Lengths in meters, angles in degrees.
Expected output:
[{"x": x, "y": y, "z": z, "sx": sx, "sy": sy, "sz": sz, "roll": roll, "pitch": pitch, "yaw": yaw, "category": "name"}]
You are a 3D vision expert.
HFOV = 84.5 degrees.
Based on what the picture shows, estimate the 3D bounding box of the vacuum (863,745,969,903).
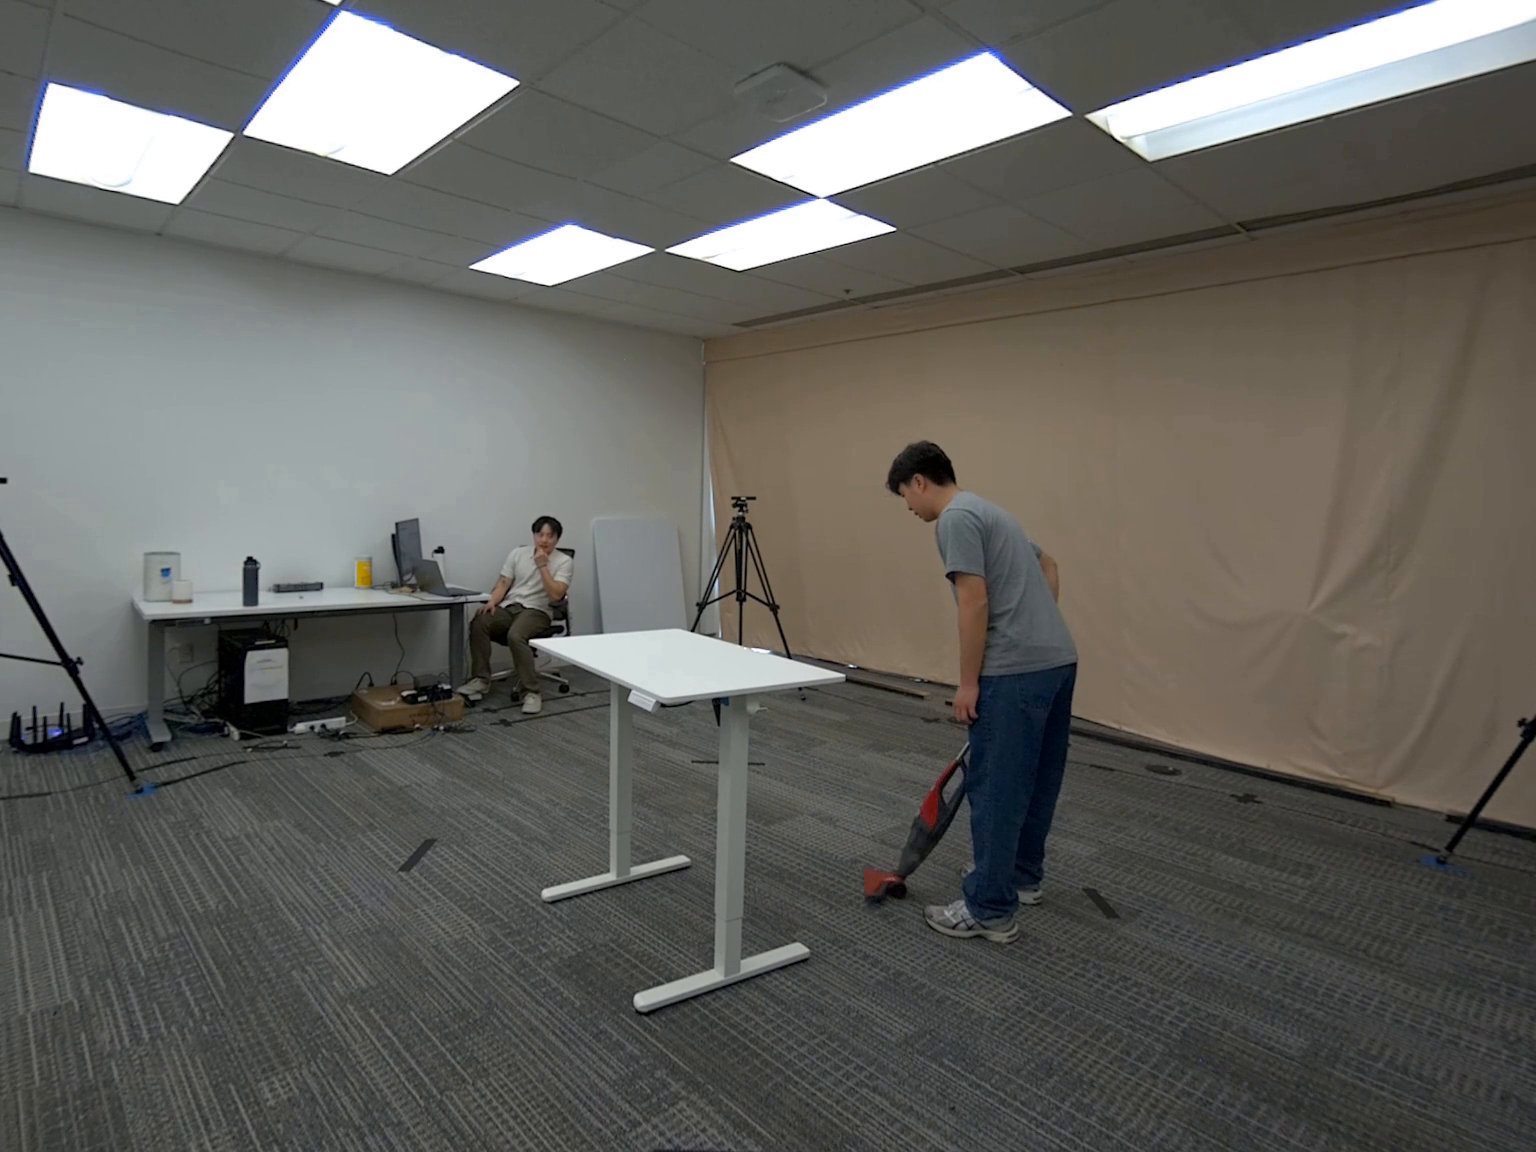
[{"x": 0.697, "y": 0.684, "z": 3.000, "sx": 0.145, "sy": 1.049, "sz": 0.251, "roll": 34, "pitch": 1, "yaw": 4, "category": "vacuum"}]
